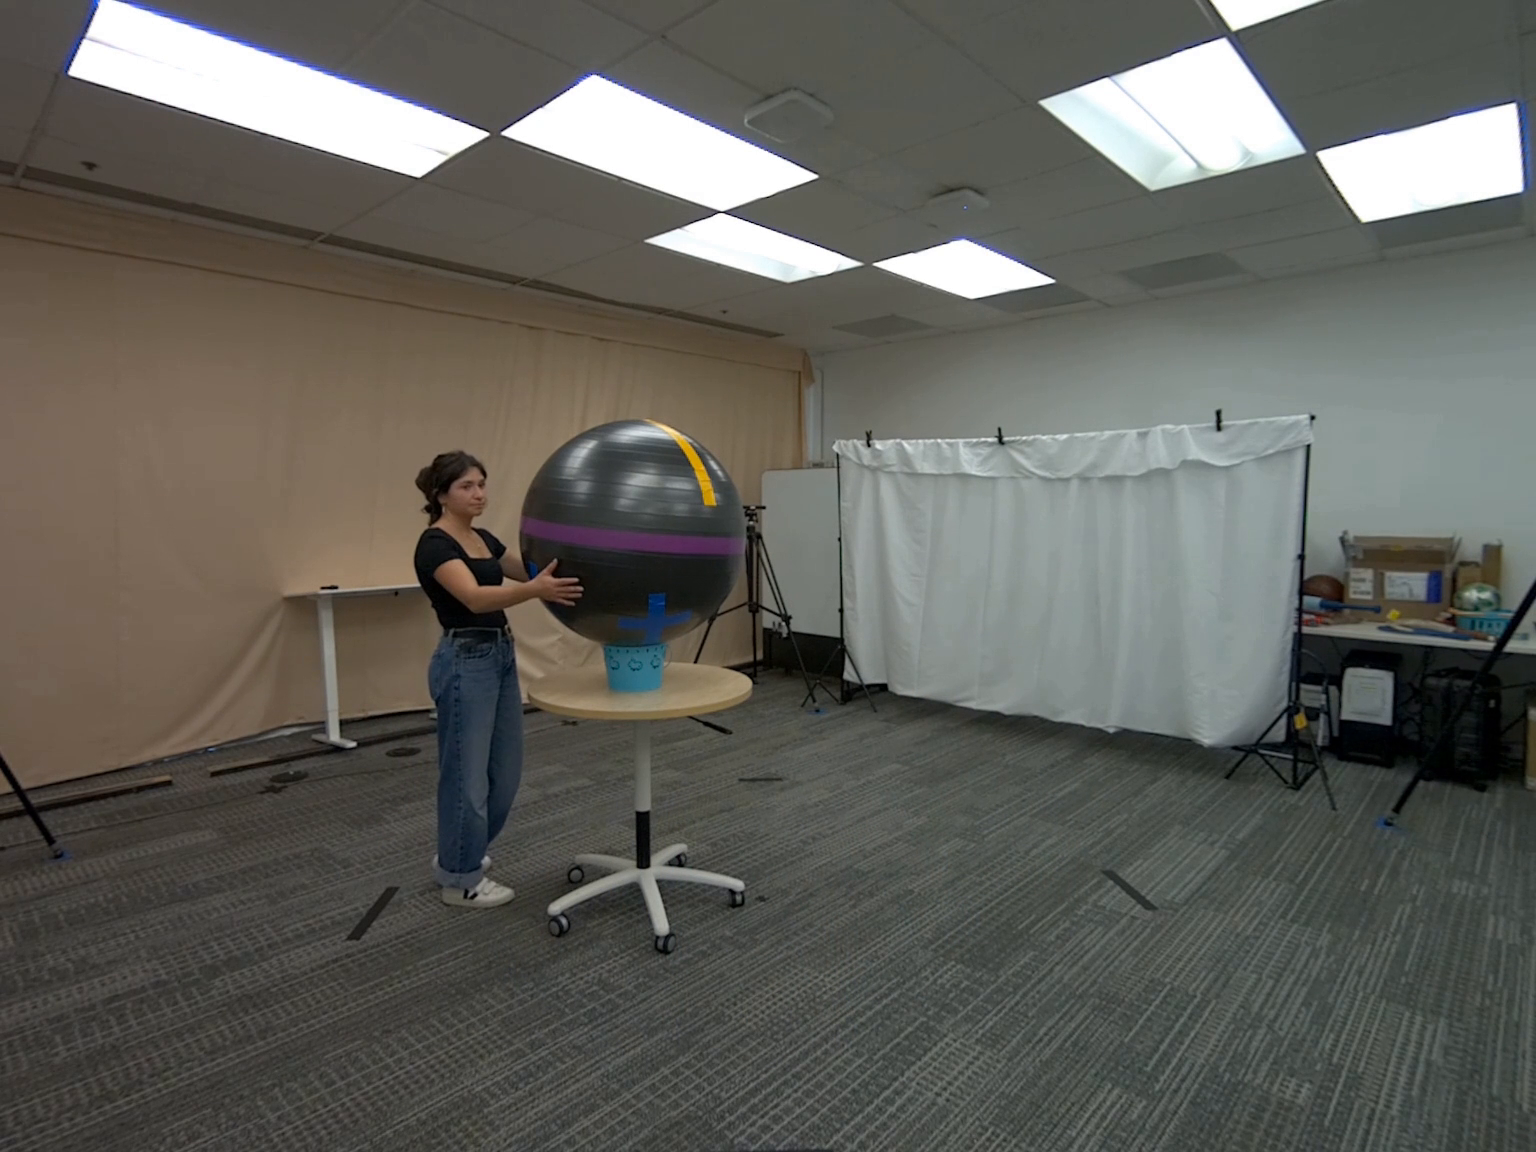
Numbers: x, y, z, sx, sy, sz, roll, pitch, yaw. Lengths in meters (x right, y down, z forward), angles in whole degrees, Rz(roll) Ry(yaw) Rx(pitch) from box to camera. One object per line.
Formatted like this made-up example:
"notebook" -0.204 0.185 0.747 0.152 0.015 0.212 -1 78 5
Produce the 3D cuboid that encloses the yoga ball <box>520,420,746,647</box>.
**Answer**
"yoga ball" -0.464 -0.136 2.841 0.757 0.756 0.760 0 4 -2
